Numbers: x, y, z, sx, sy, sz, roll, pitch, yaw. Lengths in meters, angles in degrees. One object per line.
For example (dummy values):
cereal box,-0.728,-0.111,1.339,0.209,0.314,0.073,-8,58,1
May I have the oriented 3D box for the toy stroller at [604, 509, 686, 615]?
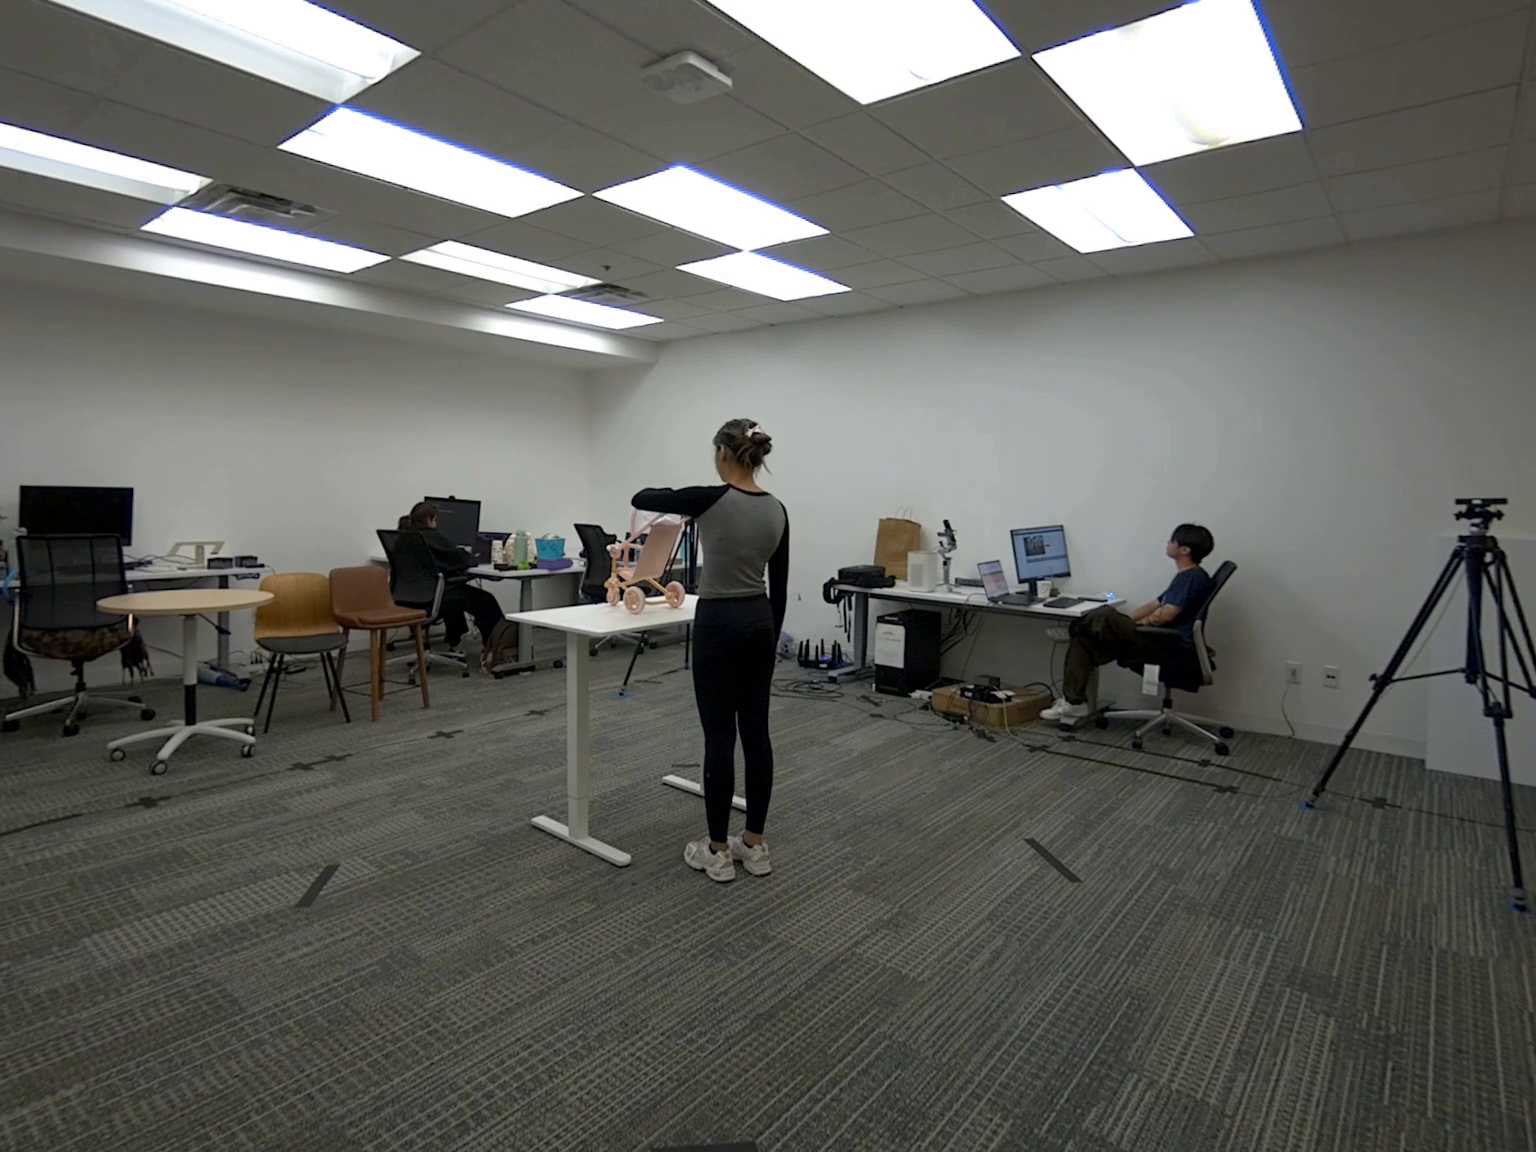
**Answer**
toy stroller,-0.527,-0.087,3.568,0.355,0.530,0.273,23,15,39
